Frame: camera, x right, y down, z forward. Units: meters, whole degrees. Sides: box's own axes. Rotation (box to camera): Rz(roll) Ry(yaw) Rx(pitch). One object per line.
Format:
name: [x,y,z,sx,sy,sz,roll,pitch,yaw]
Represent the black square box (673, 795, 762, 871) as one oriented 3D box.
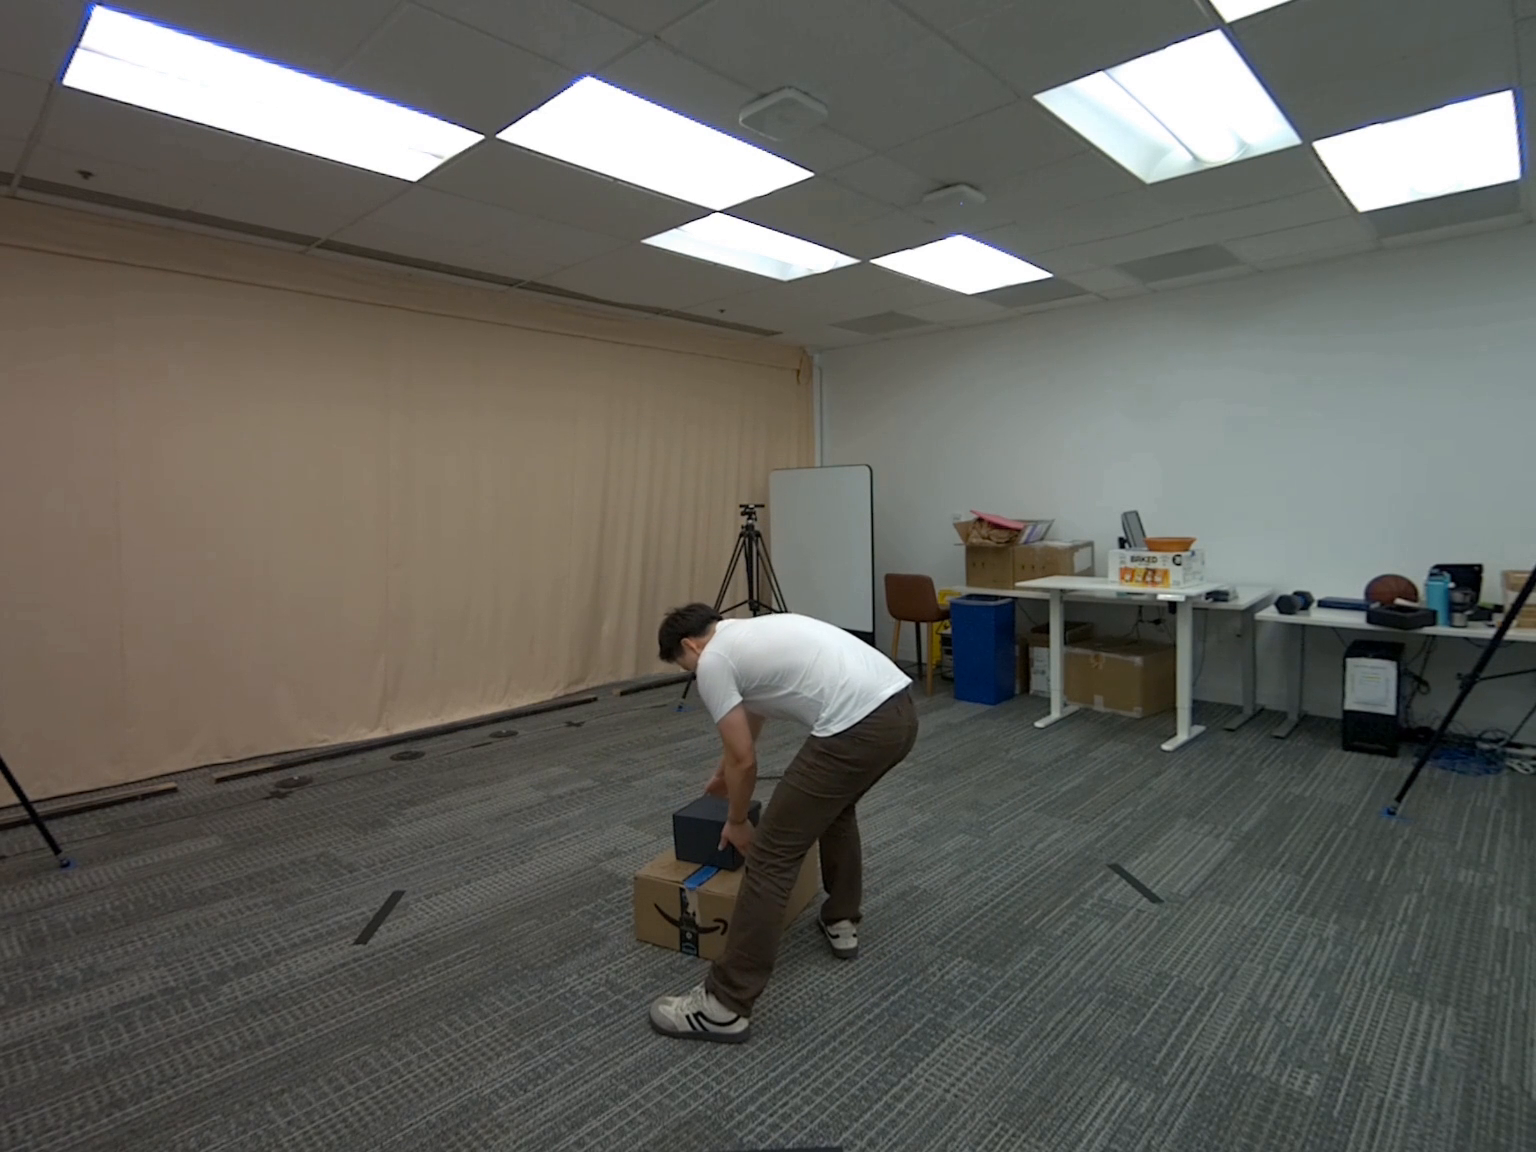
black square box: [-0.158,0.854,2.830,0.234,0.156,0.211,-2,3,28]
